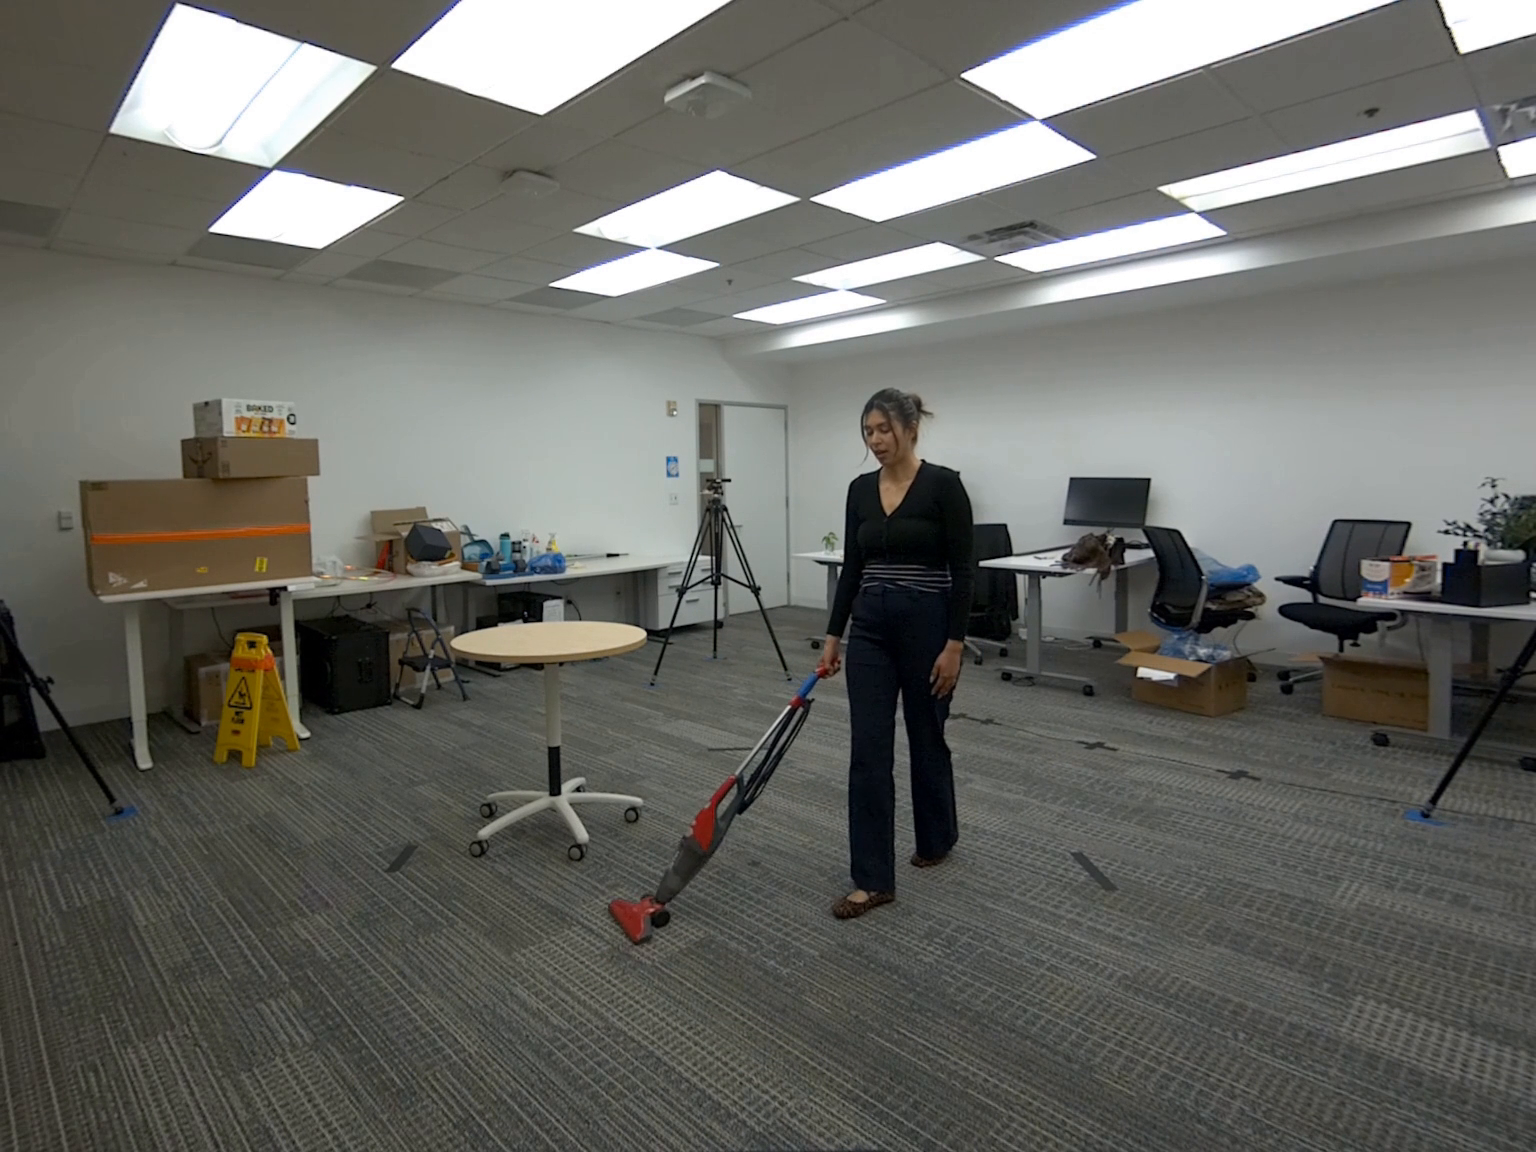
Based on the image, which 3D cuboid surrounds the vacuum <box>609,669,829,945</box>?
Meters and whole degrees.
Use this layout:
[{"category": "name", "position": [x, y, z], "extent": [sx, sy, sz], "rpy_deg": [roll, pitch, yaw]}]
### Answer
[{"category": "vacuum", "position": [-0.085, 0.715, 2.842], "extent": [1.050, 0.139, 0.261], "rpy_deg": [-49, 31, -17]}]
